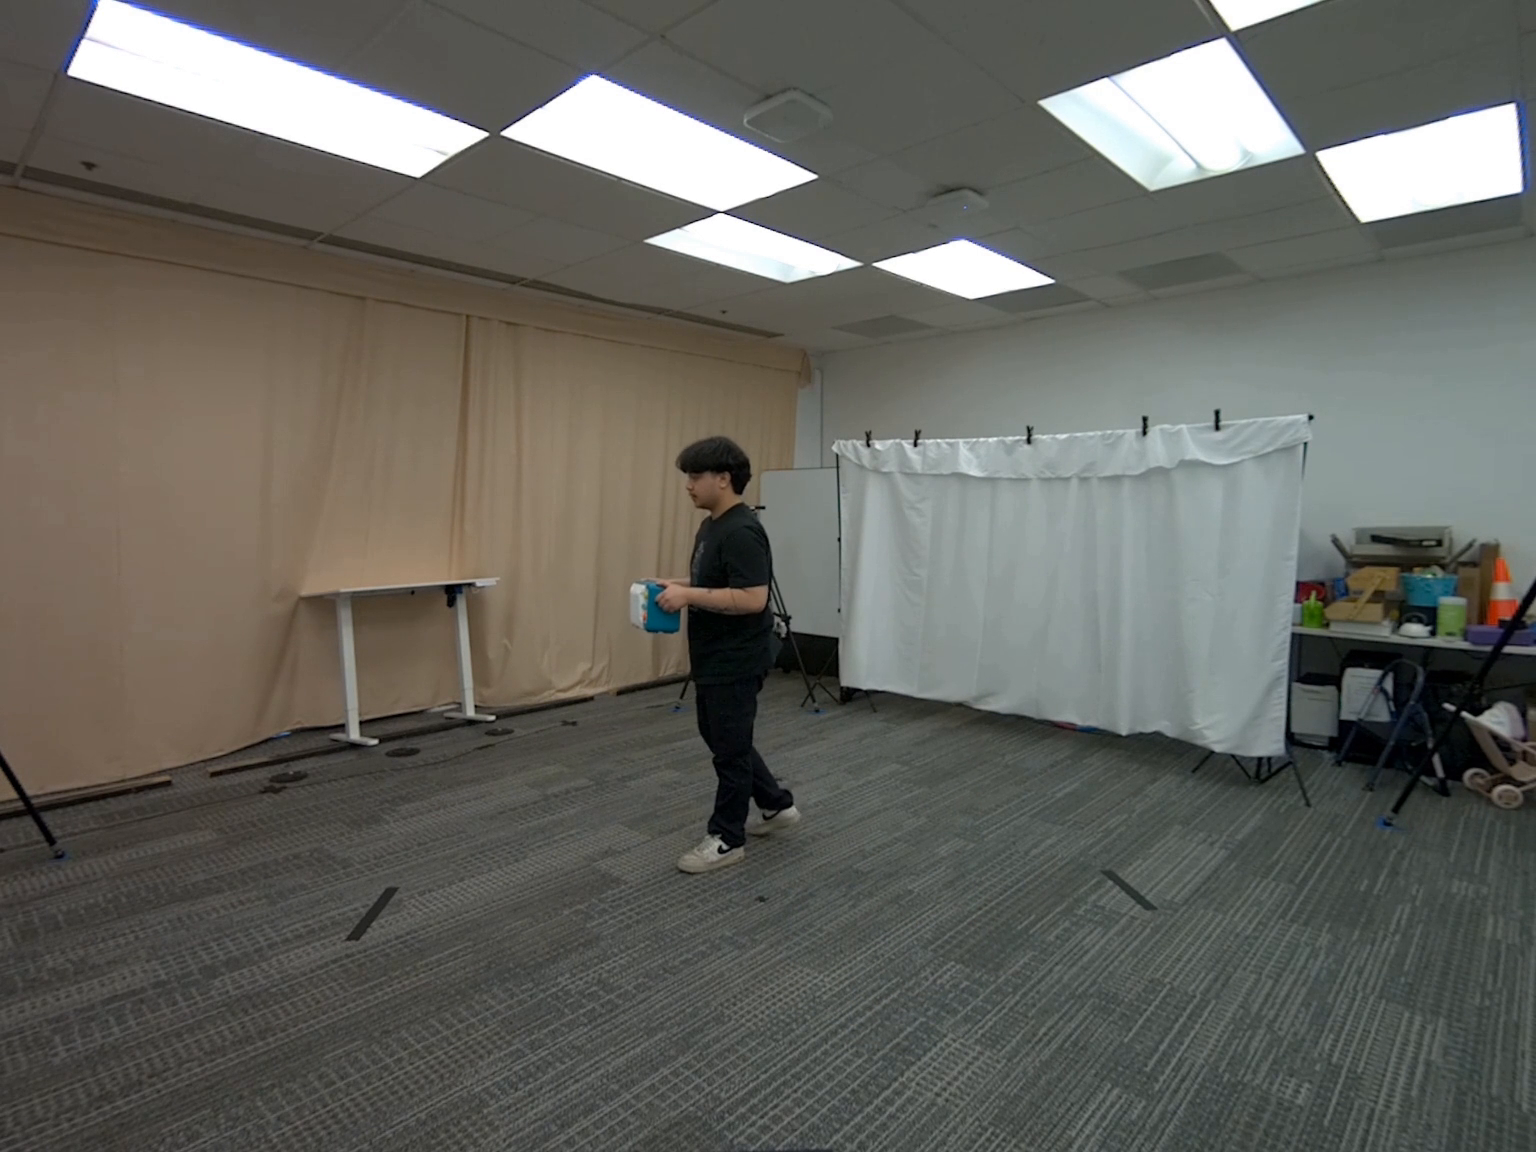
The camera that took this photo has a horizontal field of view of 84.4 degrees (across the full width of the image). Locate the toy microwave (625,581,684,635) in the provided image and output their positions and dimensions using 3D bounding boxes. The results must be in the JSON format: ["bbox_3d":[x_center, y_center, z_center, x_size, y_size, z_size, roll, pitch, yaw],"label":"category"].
[{"bbox_3d":[-0.433,0.116,3.208,0.149,0.184,0.292,2,0,-20],"label":"toy microwave"}]
